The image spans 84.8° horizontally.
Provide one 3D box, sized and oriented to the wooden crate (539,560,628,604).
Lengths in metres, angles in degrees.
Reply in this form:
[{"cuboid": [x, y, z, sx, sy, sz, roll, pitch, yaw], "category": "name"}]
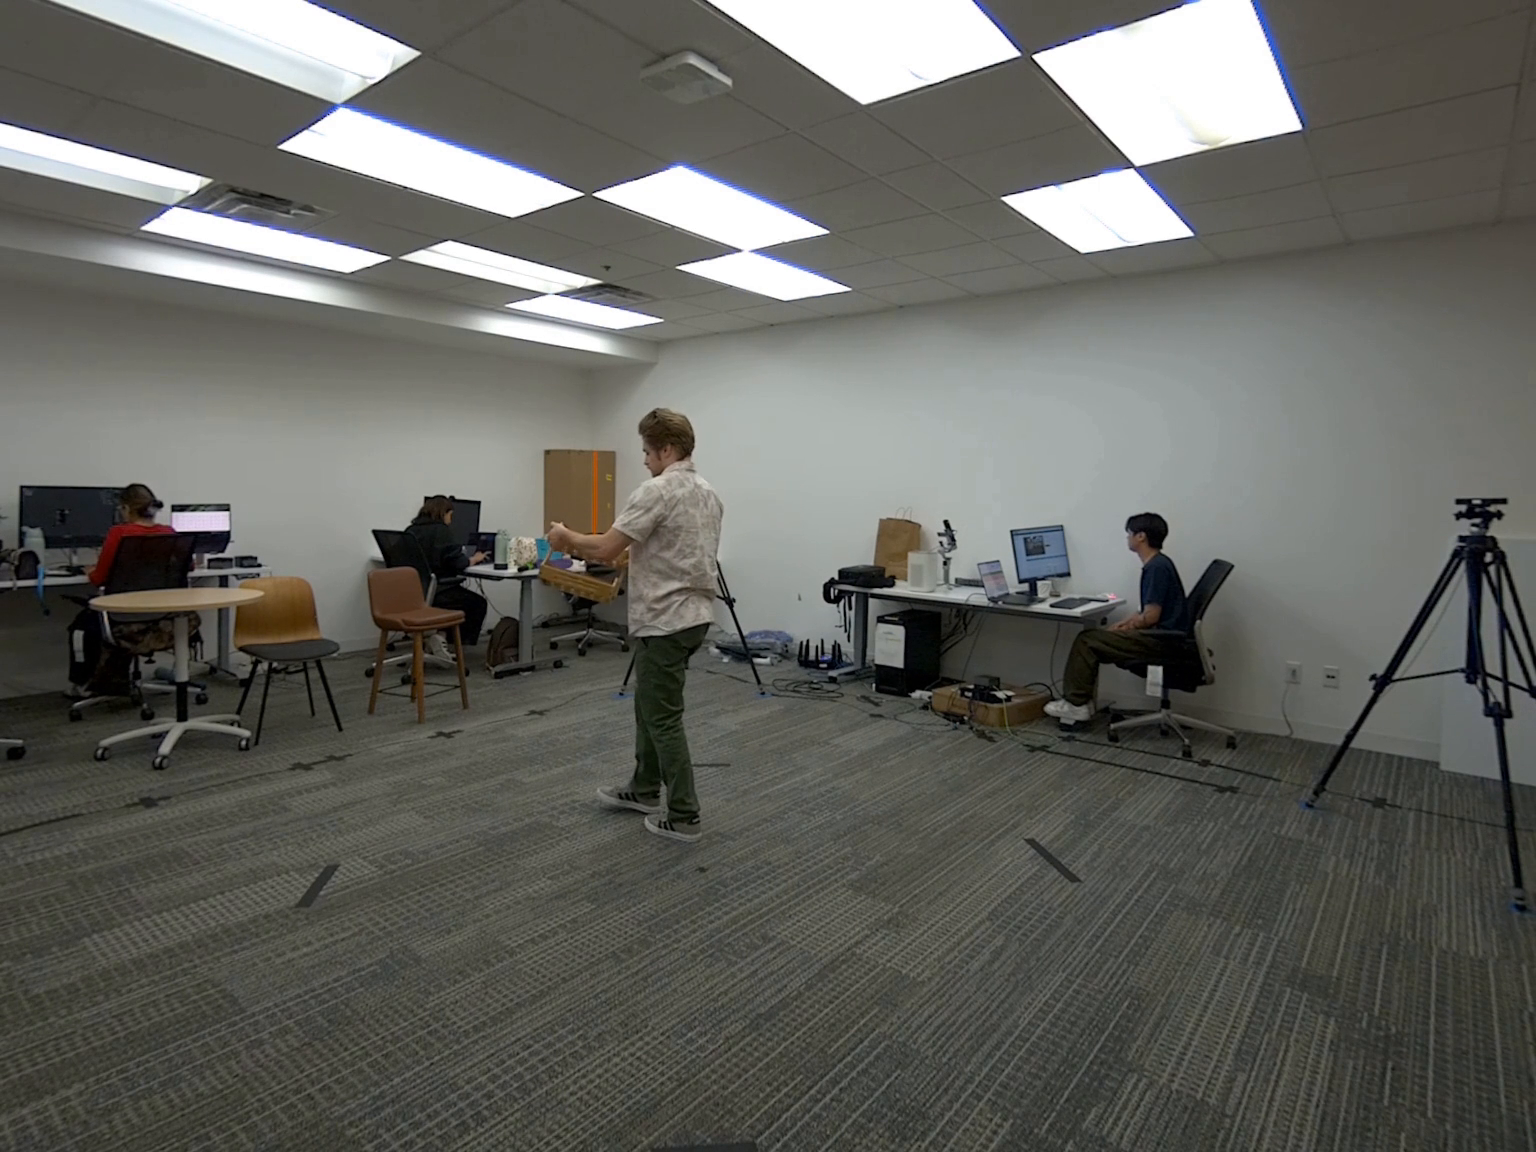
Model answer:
[{"cuboid": [-0.771, -0.064, 3.526, 0.323, 0.276, 0.301, 18, -14, -4], "category": "wooden crate"}]
